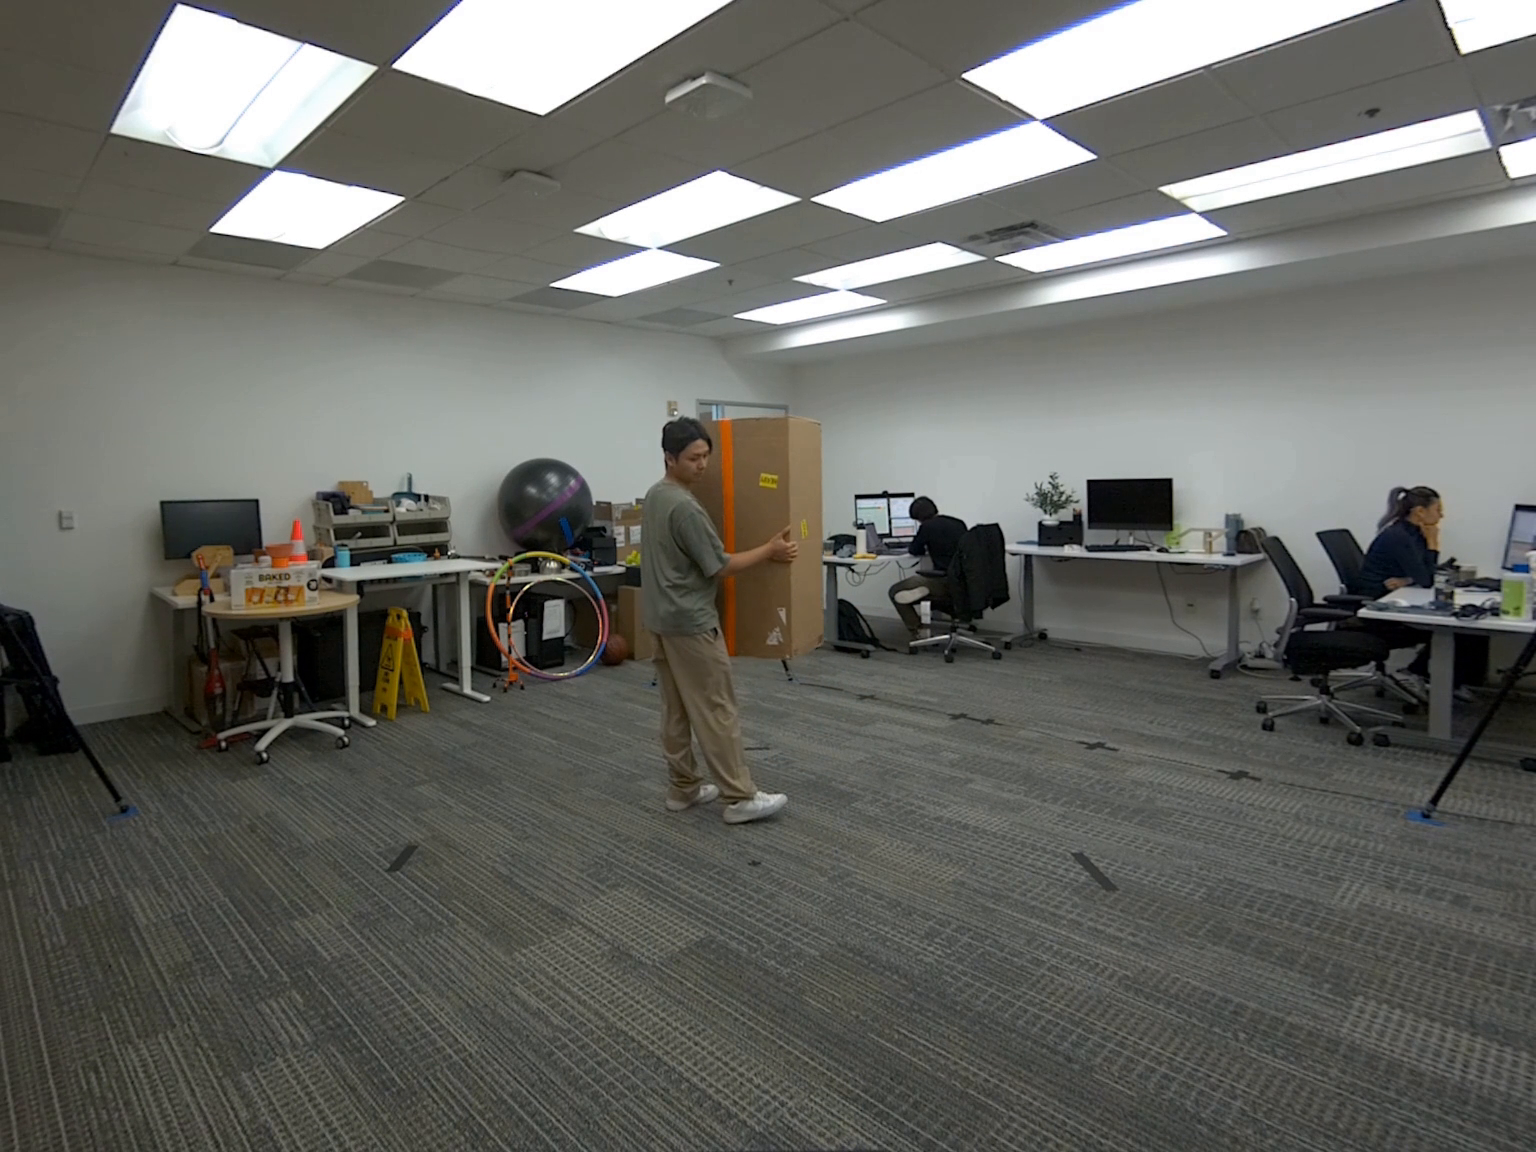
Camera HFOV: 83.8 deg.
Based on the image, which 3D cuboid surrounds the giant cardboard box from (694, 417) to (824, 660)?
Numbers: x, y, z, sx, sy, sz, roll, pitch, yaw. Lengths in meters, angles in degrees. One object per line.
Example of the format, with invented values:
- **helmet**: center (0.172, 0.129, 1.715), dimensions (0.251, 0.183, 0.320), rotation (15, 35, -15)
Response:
- **giant cardboard box**: center (-0.087, -0.180, 3.861), dimensions (0.590, 1.023, 0.418), rotation (0, 4, 25)
